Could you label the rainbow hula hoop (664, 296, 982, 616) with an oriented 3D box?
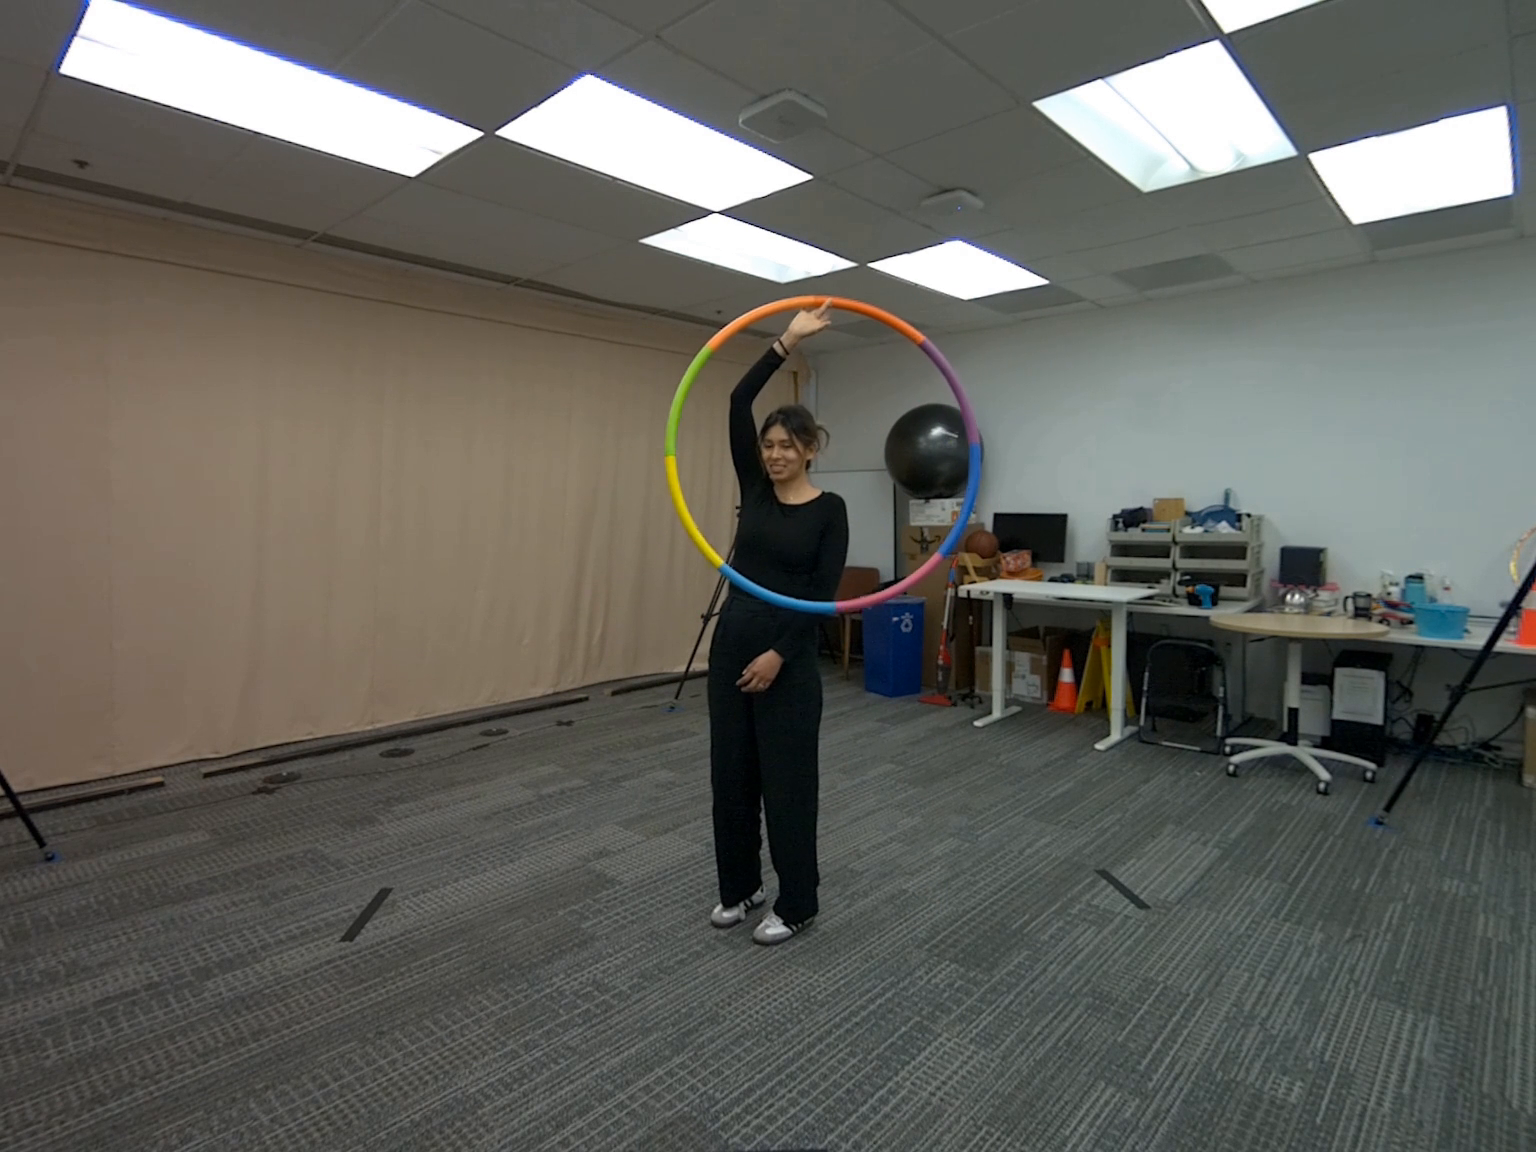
[{"bbox_3d":[0.174,-0.385,2.599,0.981,0.989,0.051,-1,-7,-4],"label":"rainbow hula hoop"}]
